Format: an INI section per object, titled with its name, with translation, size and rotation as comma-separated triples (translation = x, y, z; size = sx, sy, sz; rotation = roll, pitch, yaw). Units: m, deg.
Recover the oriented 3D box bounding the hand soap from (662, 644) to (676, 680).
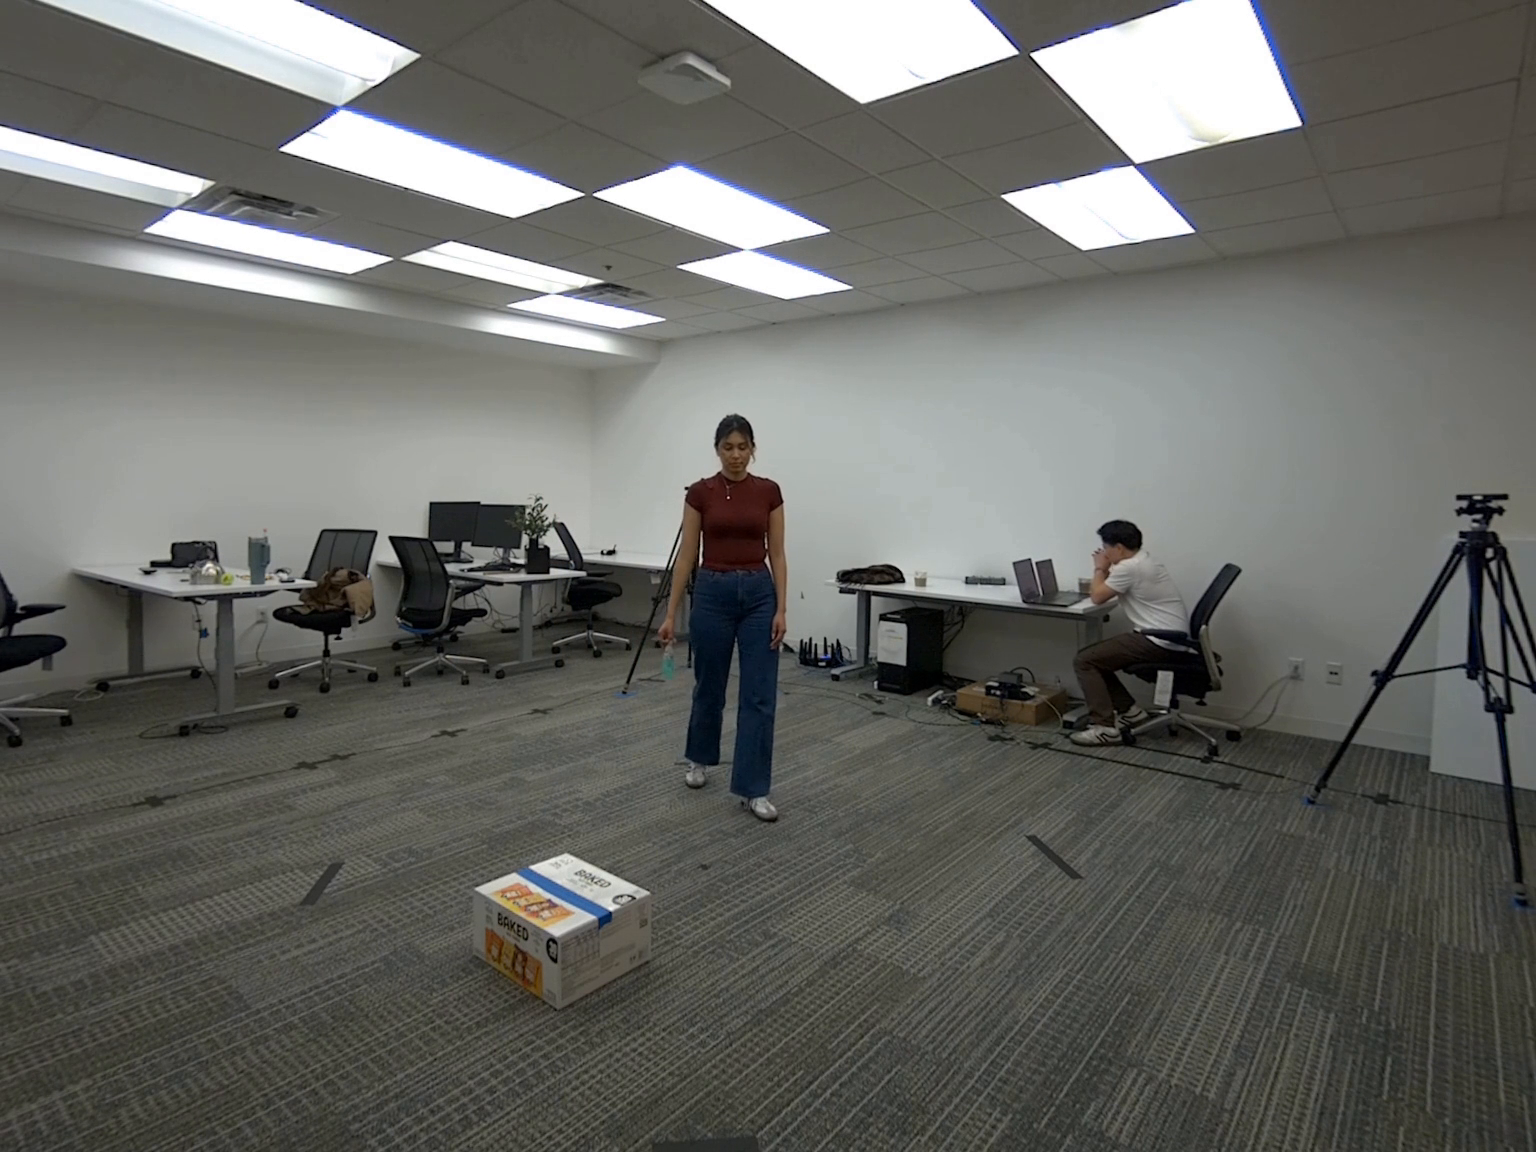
[hand soap]
translation = -0.444, 0.354, 3.710
size = 0.044, 0.168, 0.083
rotation = 2, 3, 20
